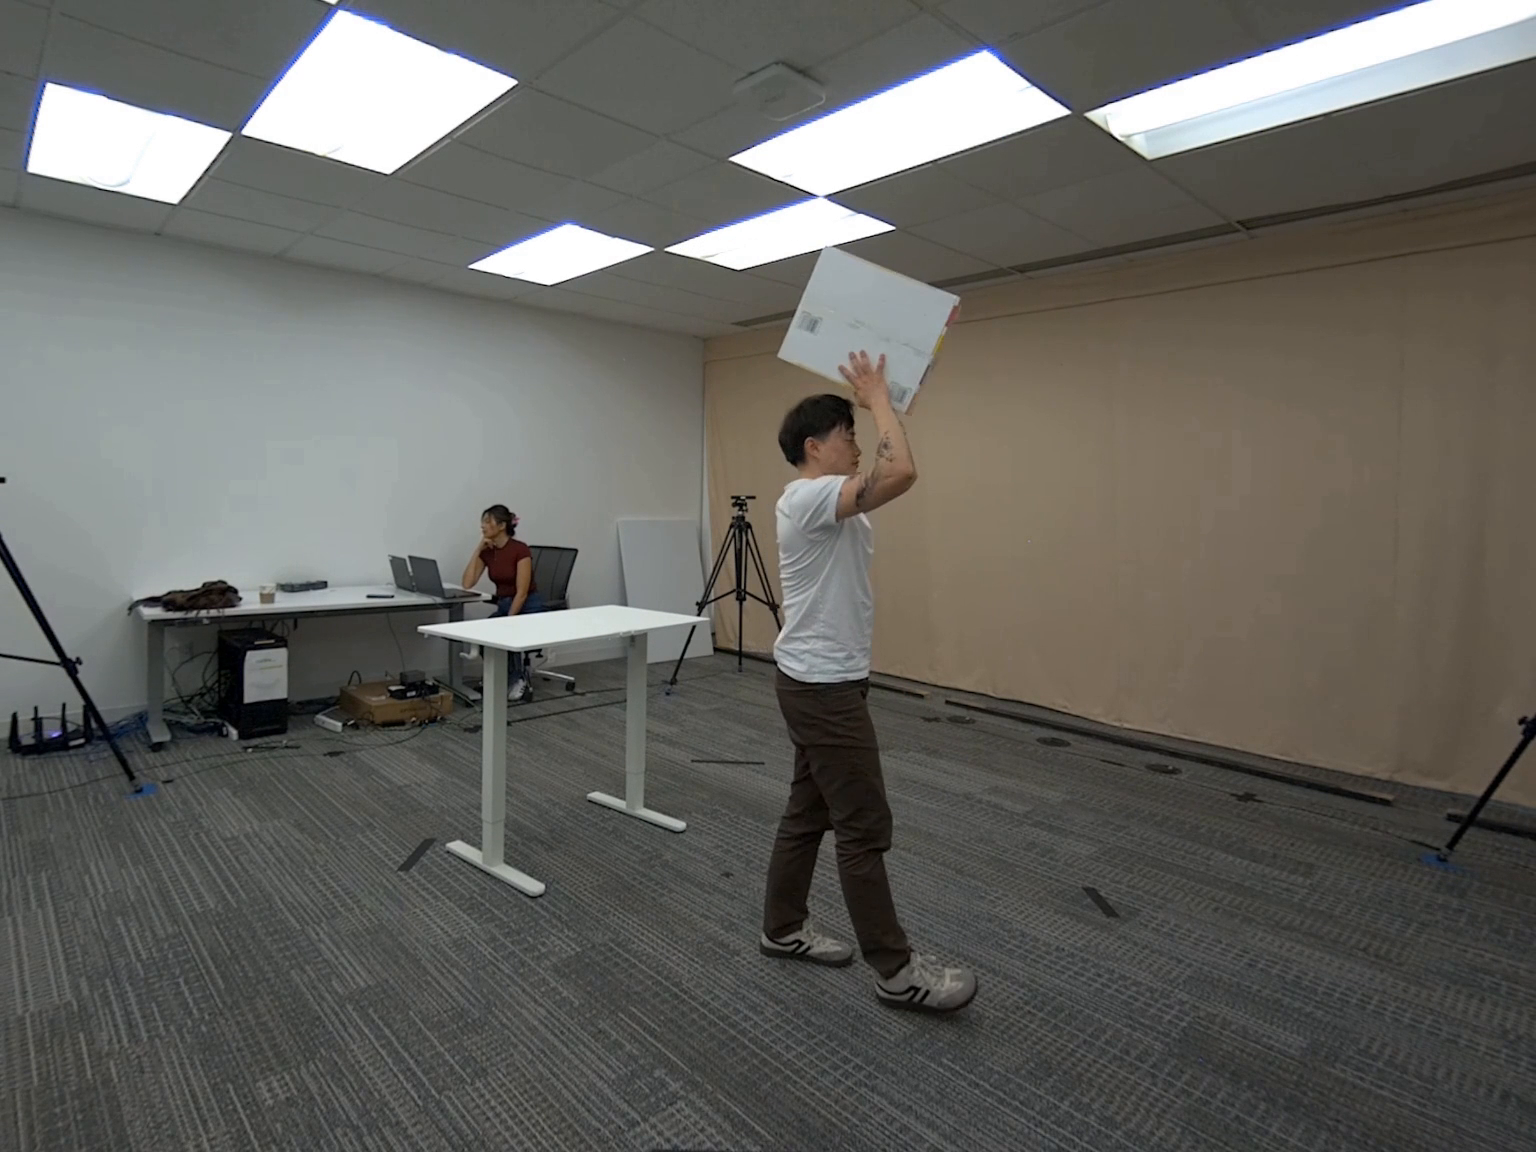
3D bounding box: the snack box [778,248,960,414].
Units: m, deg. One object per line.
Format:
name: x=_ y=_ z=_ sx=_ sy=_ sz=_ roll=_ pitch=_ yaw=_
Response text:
snack box: x=0.288 y=-0.699 z=2.408 sx=0.410 sy=0.338 sz=0.204 roll=26 pitch=14 yaw=10
